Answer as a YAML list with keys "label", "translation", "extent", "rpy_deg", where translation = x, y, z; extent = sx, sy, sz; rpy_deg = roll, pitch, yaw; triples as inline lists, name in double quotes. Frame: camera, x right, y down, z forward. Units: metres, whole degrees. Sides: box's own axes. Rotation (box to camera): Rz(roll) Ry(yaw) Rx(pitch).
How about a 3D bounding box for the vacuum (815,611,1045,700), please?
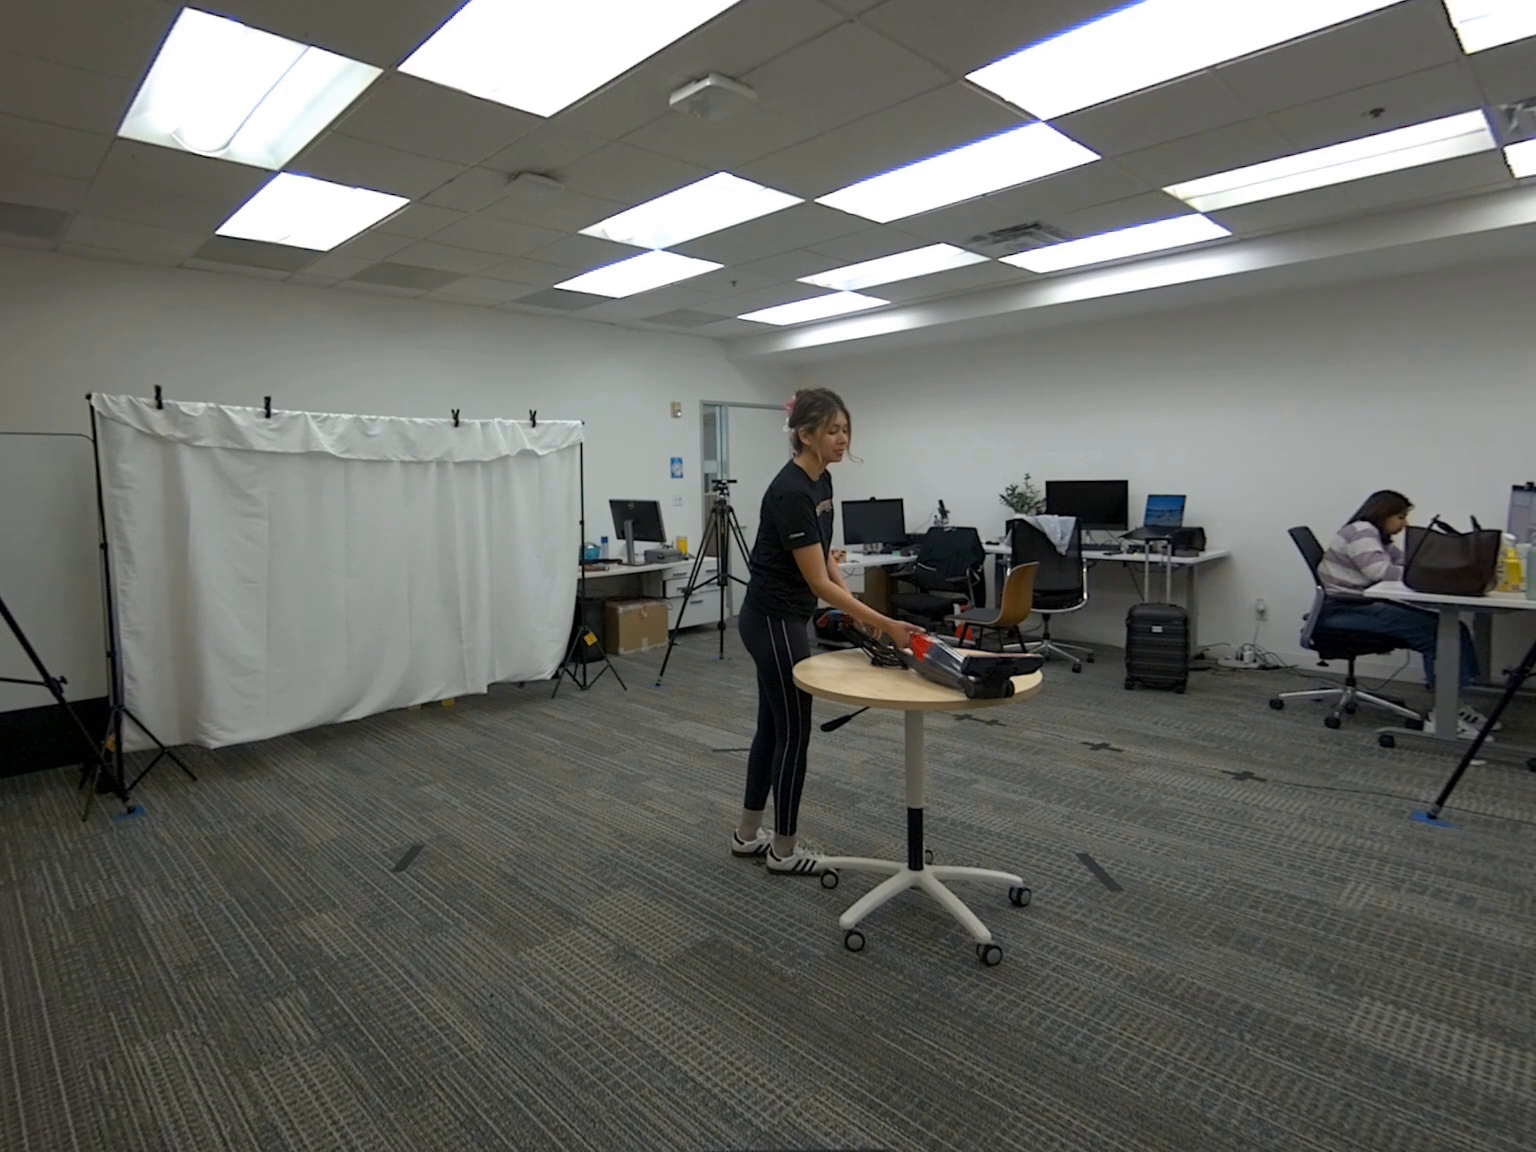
- label: "vacuum"
  translation: [0.420, 0.240, 2.781]
  extent: [0.247, 0.144, 1.073]
  rpy_deg: [1, 4, -23]
